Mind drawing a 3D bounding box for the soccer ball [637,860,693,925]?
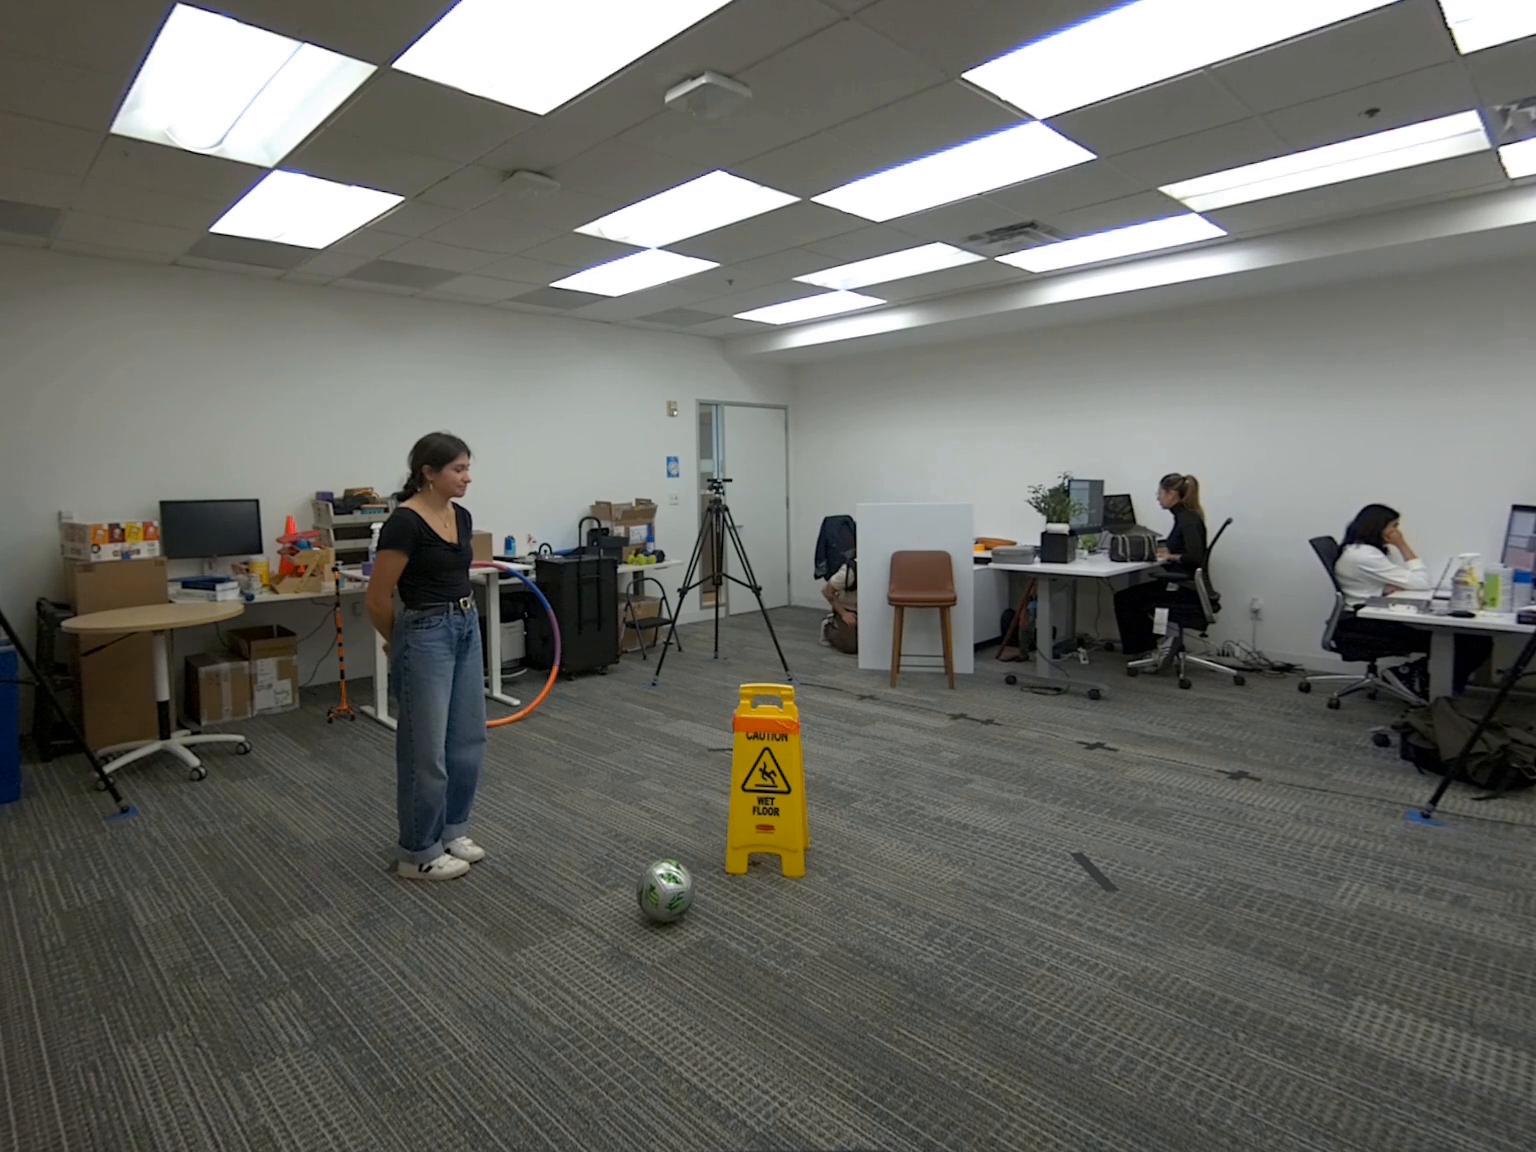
[{"bbox_3d":[-0.321,1.000,2.728,0.187,0.187,0.188,-1,5,-2],"label":"soccer ball"}]
